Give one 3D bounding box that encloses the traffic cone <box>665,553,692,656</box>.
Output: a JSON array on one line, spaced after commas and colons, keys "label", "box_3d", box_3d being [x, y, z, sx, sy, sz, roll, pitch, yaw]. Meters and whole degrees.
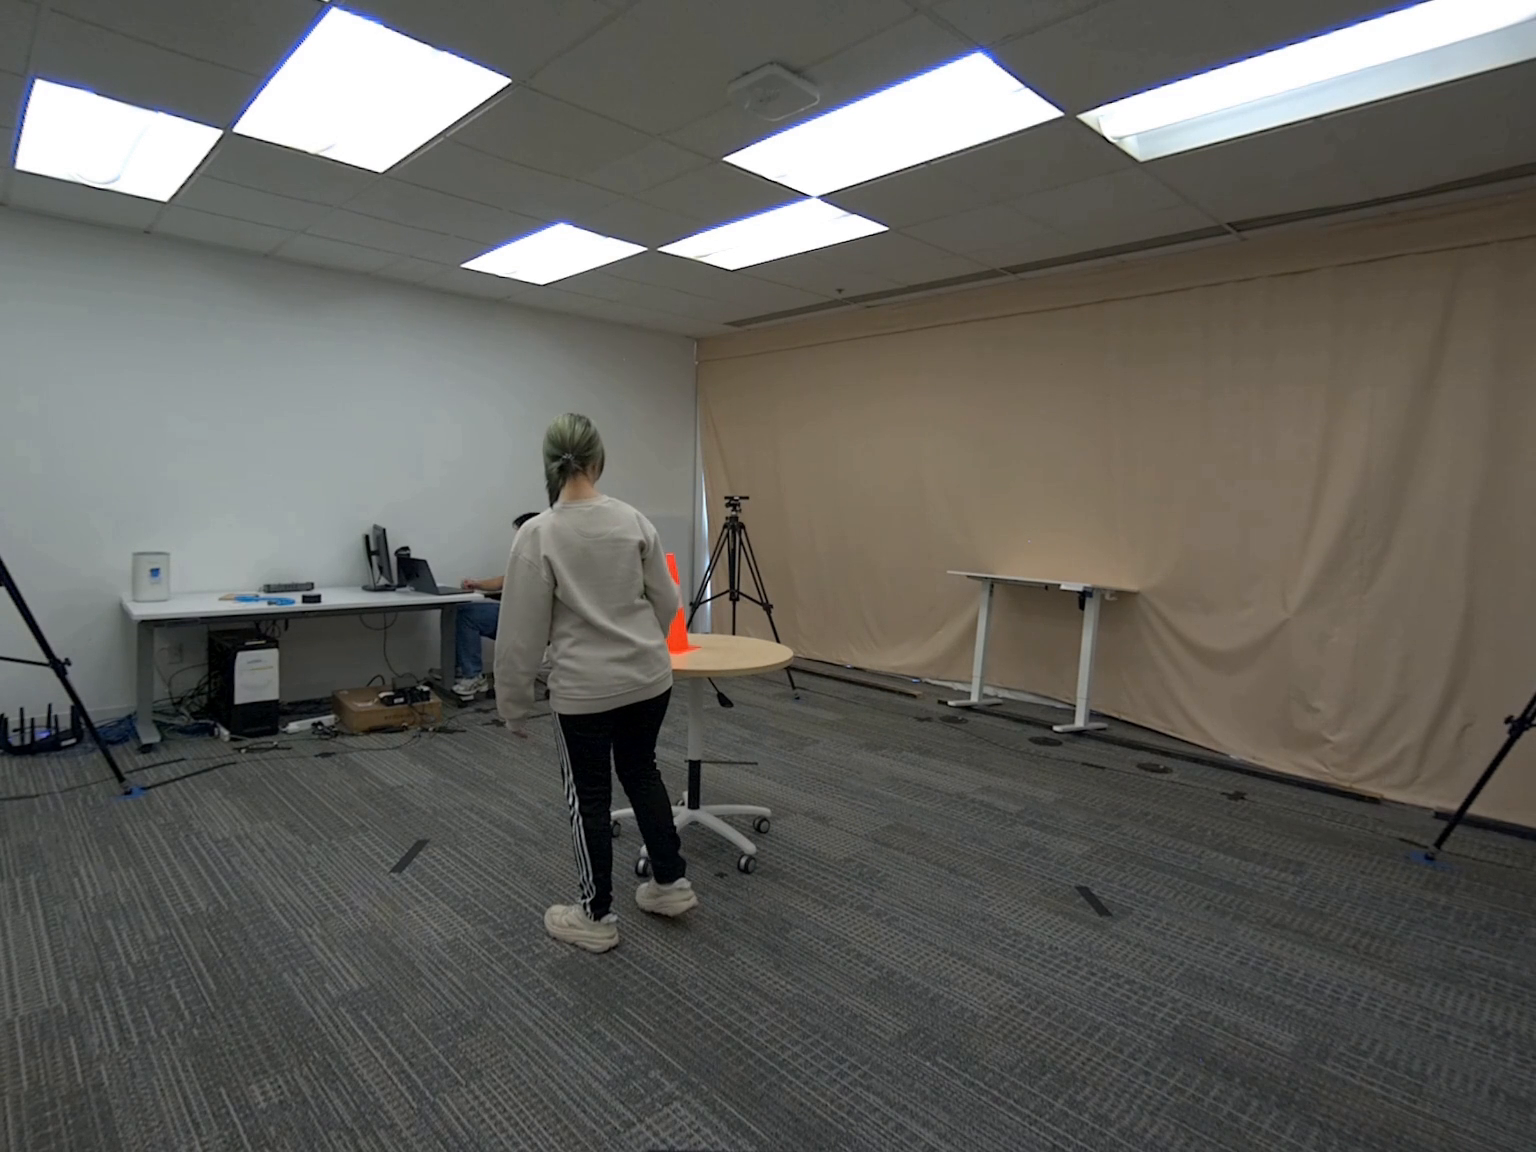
[{"label": "traffic cone", "box_3d": [-0.394, 0.104, 3.364, 0.208, 0.383, 0.201, 5, 5, 30]}]
